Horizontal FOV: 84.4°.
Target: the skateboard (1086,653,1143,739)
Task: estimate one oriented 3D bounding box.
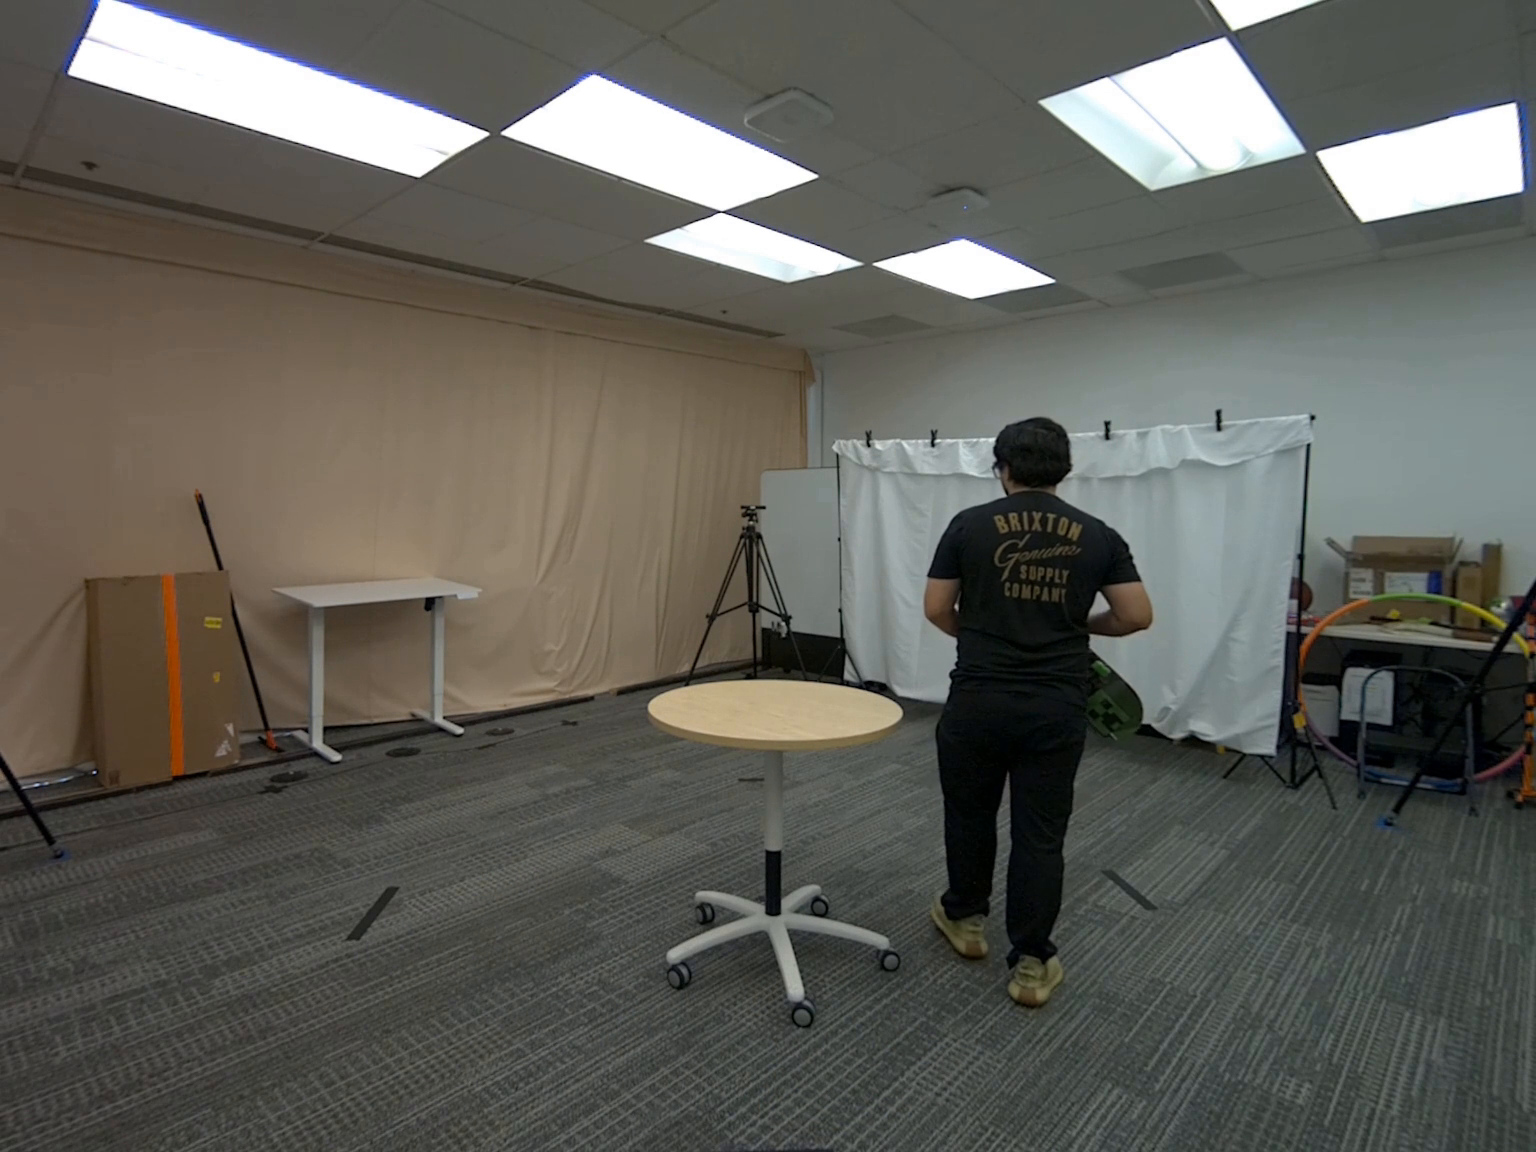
[{"bbox_3d":[0.853,0.197,2.643,0.804,0.194,0.107,47,19,20],"label":"skateboard"}]
